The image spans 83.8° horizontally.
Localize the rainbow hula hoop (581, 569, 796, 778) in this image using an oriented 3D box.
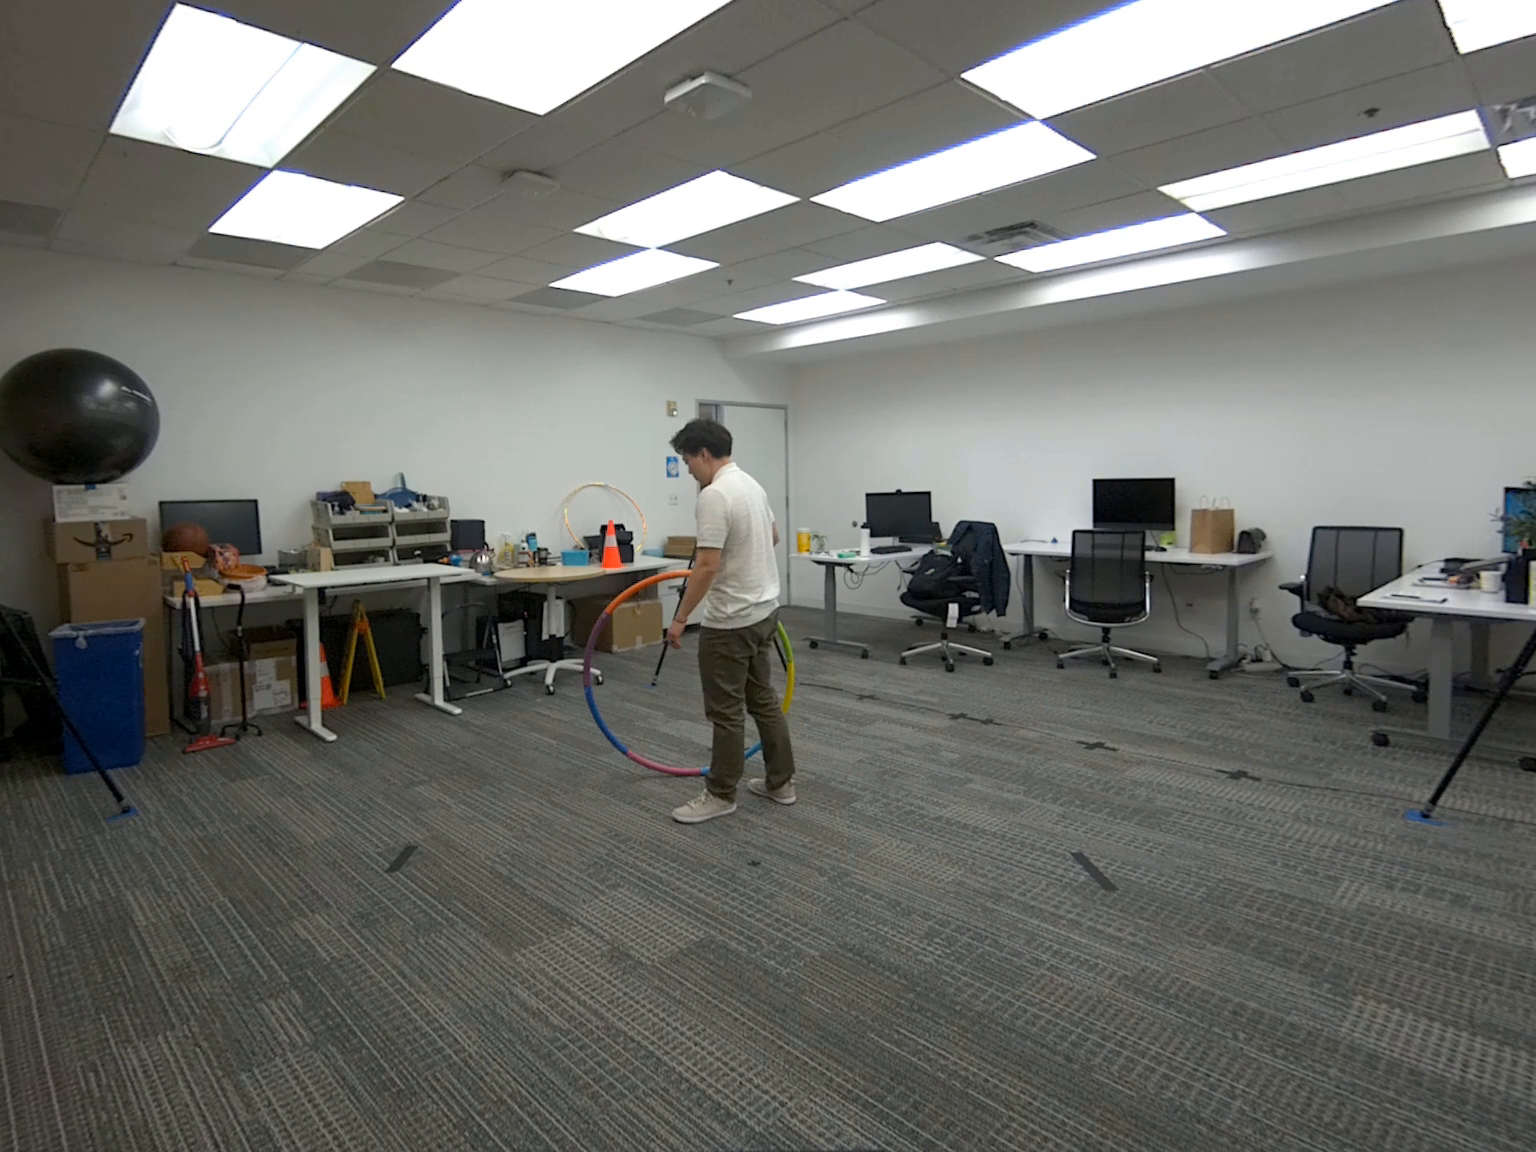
[{"bbox_3d":[-0.375,0.464,4.014,0.978,0.974,0.036,-1,5,-1],"label":"rainbow hula hoop"}]
